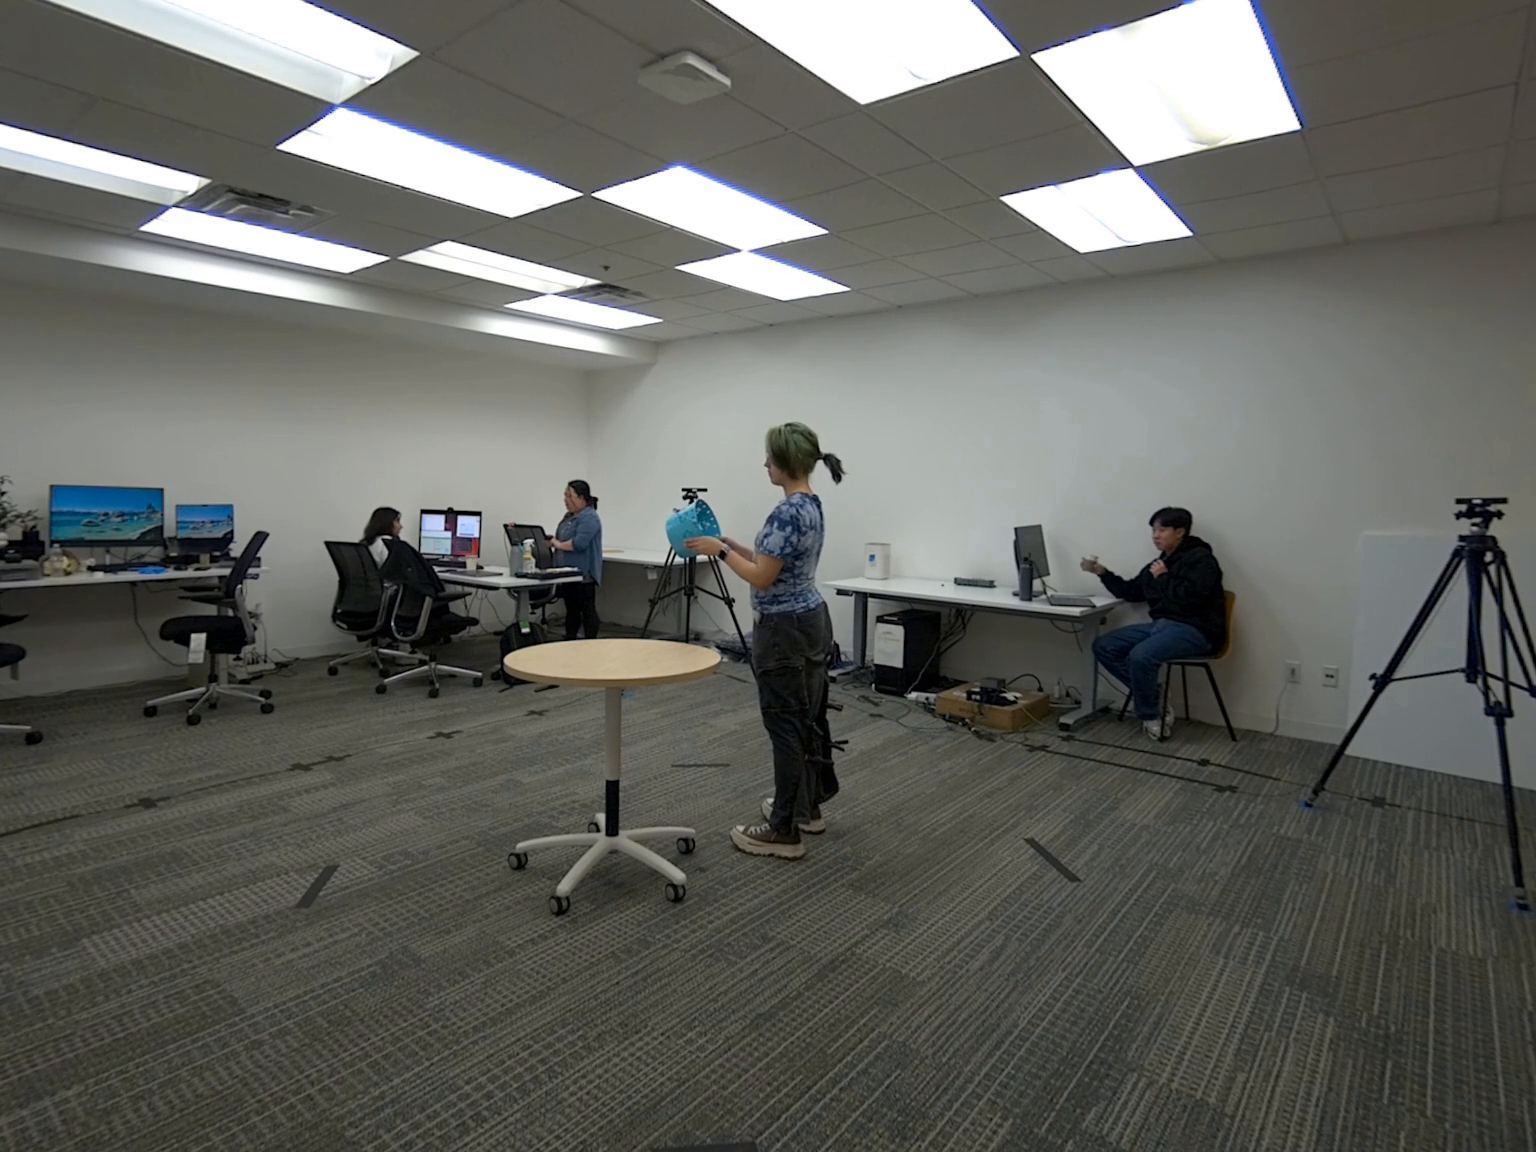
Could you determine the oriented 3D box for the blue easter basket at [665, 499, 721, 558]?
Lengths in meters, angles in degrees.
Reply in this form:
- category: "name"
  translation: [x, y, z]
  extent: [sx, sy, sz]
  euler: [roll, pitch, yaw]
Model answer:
- category: "blue easter basket"
  translation: [-0.318, -0.187, 3.495]
  extent: [0.158, 0.245, 0.240]
  euler: [-20, -2, 17]
